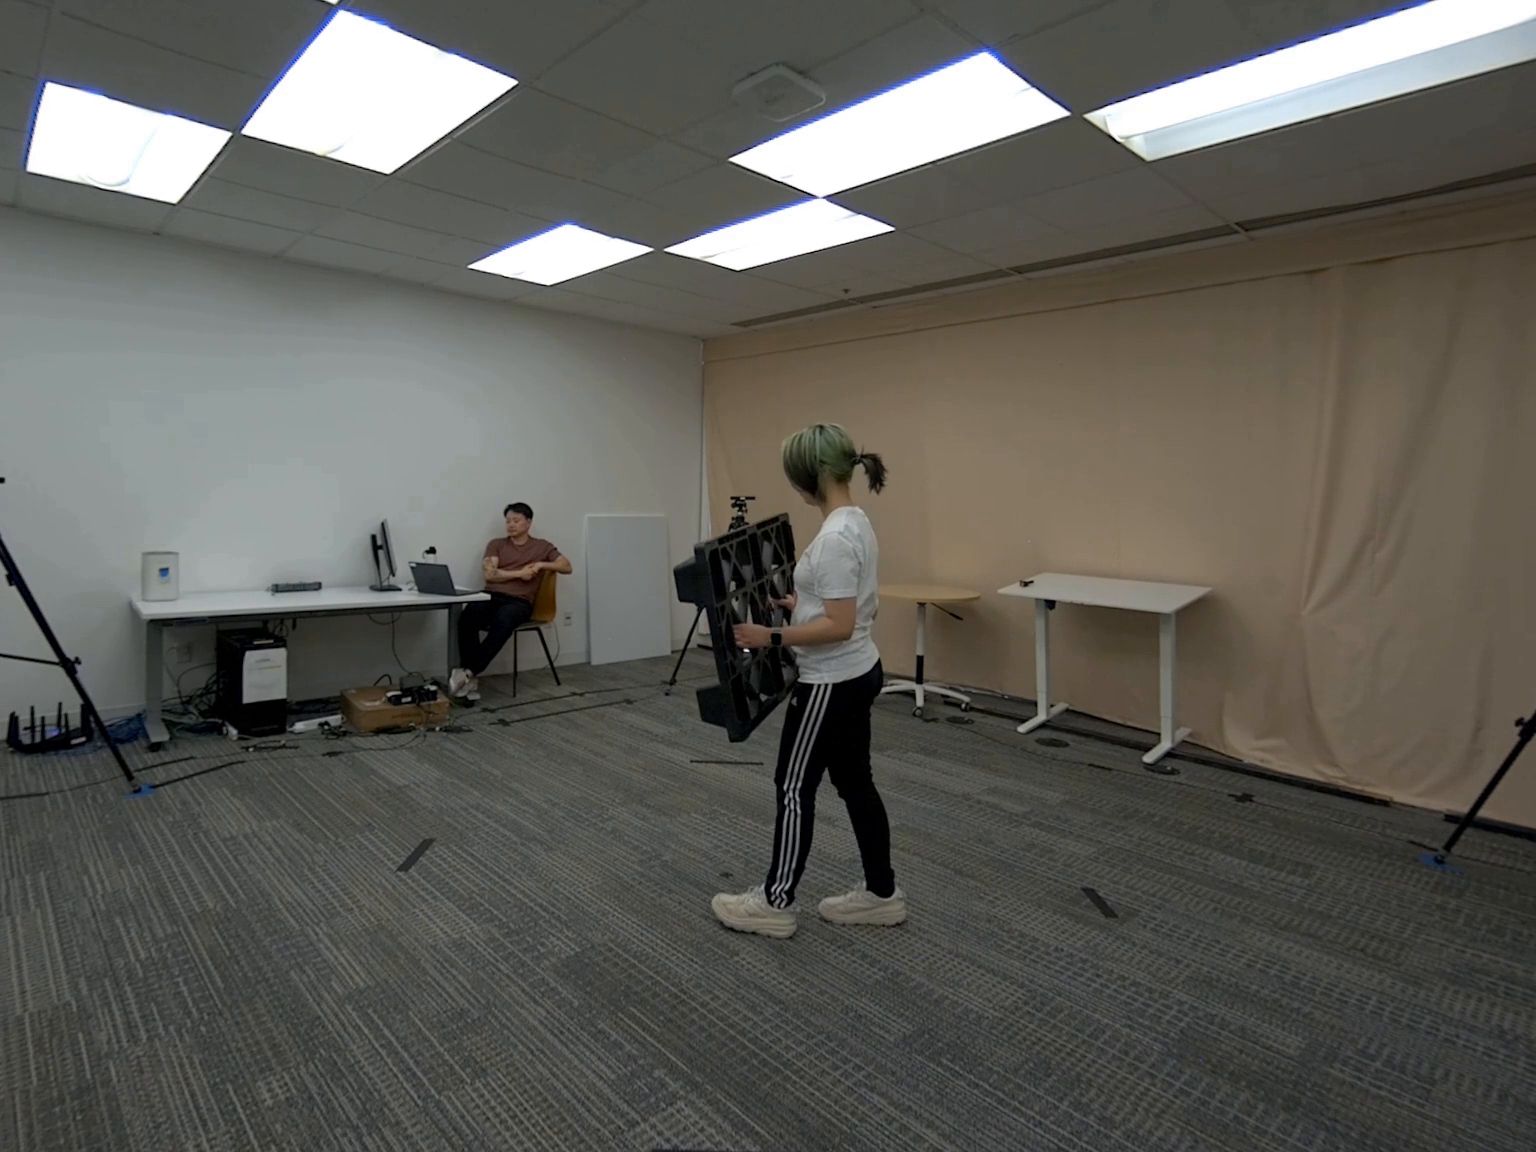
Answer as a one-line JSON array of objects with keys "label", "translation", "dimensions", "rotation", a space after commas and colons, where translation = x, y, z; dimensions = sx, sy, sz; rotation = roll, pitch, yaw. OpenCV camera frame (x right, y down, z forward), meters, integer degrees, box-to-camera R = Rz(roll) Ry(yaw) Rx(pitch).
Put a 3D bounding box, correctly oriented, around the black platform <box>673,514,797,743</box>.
[{"label": "black platform", "translation": [-0.064, 0.139, 2.814], "dimensions": [0.145, 0.602, 0.799], "rotation": [-7, 7, 20]}]
